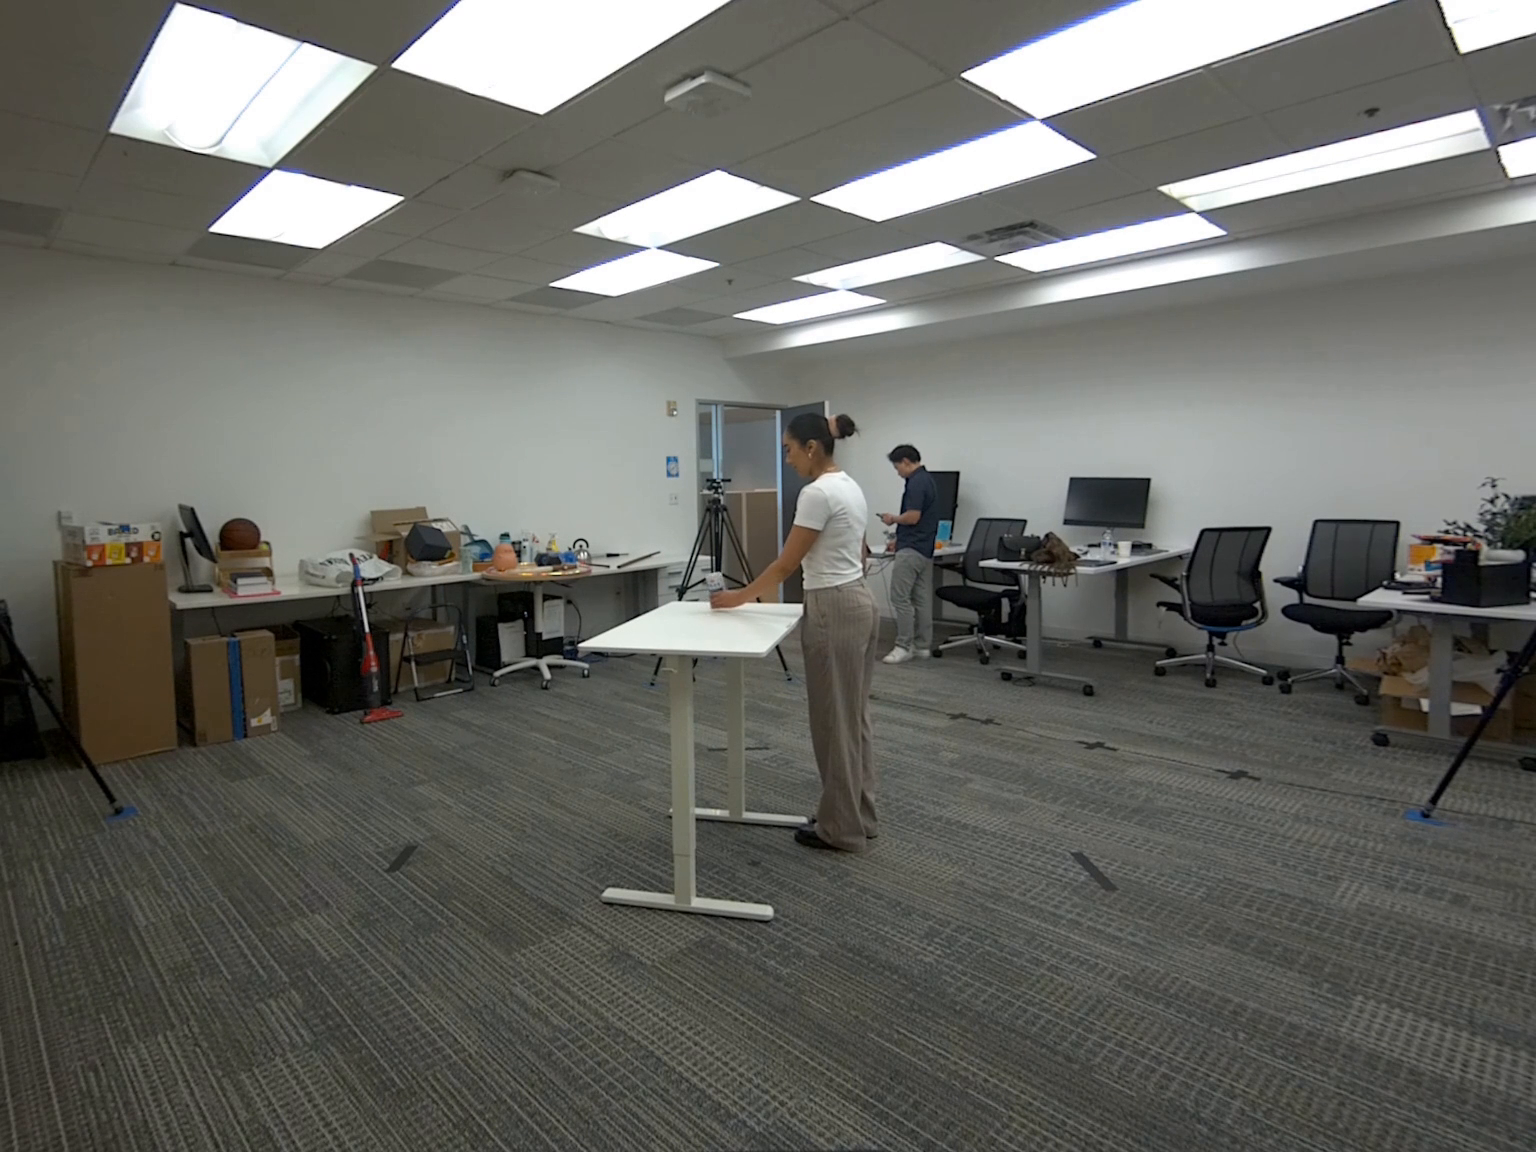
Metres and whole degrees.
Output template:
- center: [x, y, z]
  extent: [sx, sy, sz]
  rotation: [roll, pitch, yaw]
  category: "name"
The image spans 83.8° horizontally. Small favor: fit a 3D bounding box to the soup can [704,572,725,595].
- center: [-0.199, 0.047, 3.377]
  extent: [0.067, 0.121, 0.067]
  rotation: [-9, 7, 0]
  category: "soup can"
